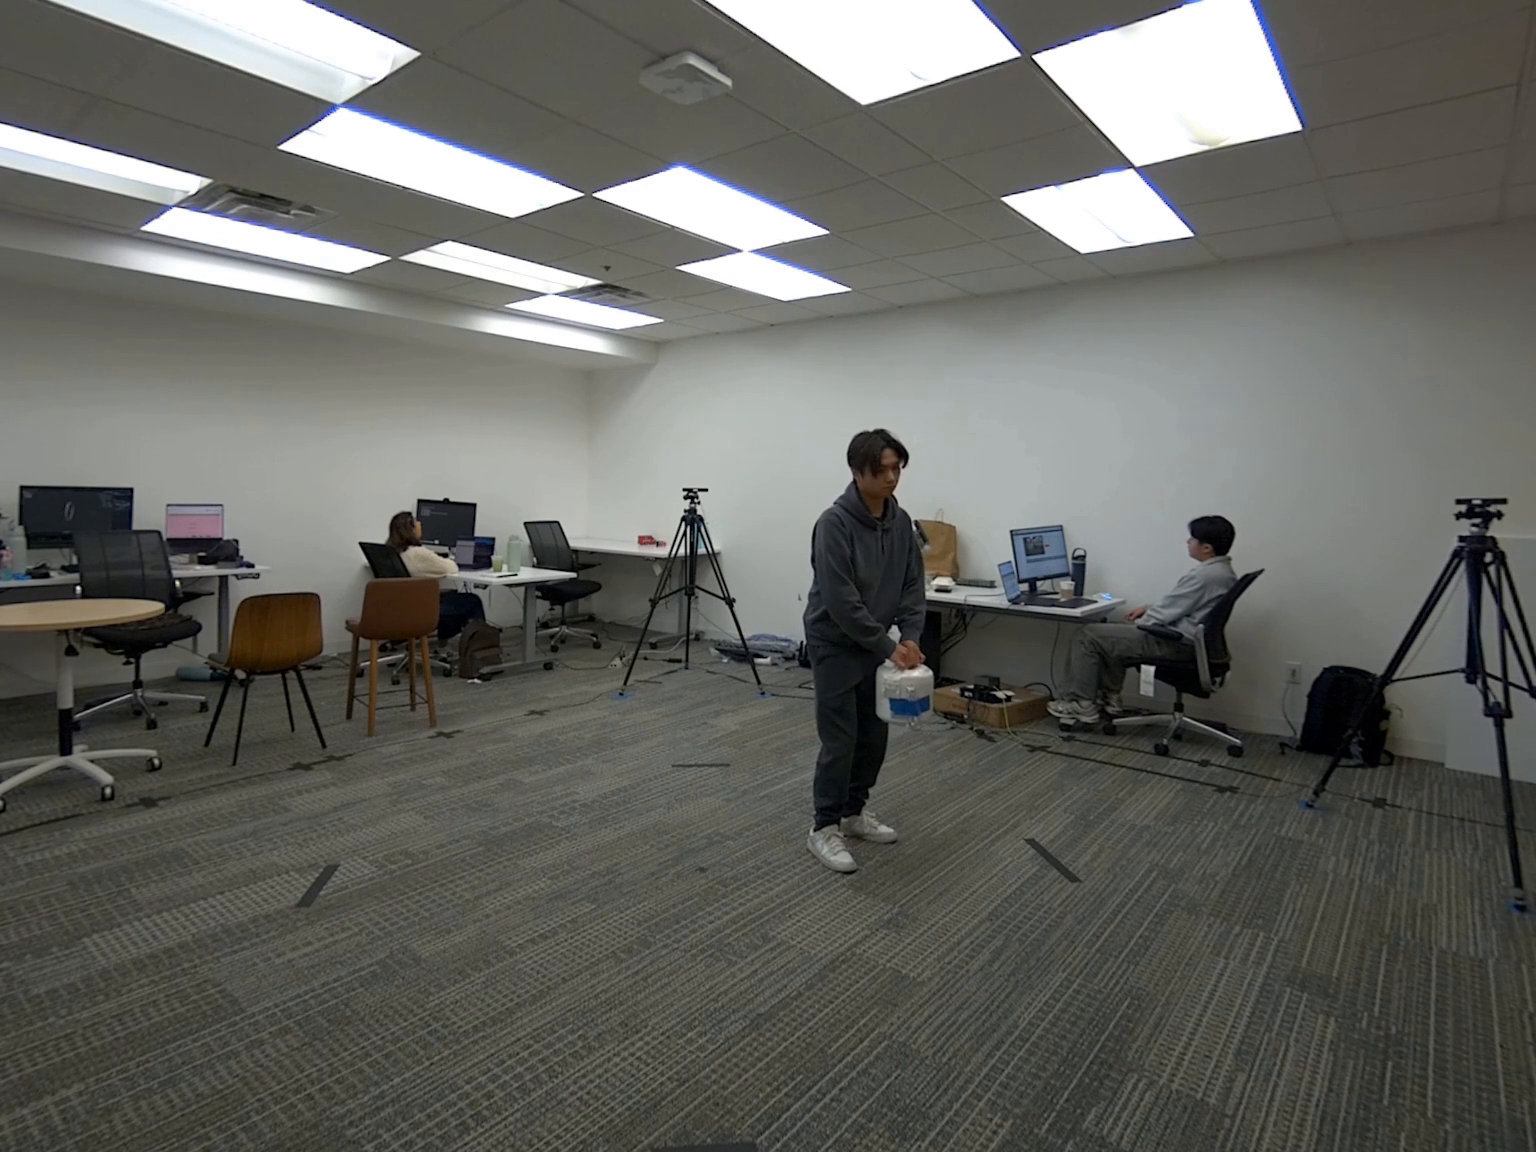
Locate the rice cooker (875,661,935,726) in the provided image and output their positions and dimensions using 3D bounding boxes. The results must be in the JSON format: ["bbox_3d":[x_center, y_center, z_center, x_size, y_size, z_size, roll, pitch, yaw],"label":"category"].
[{"bbox_3d":[0.502,0.422,3.178,0.225,0.231,0.214,7,8,40],"label":"rice cooker"}]
